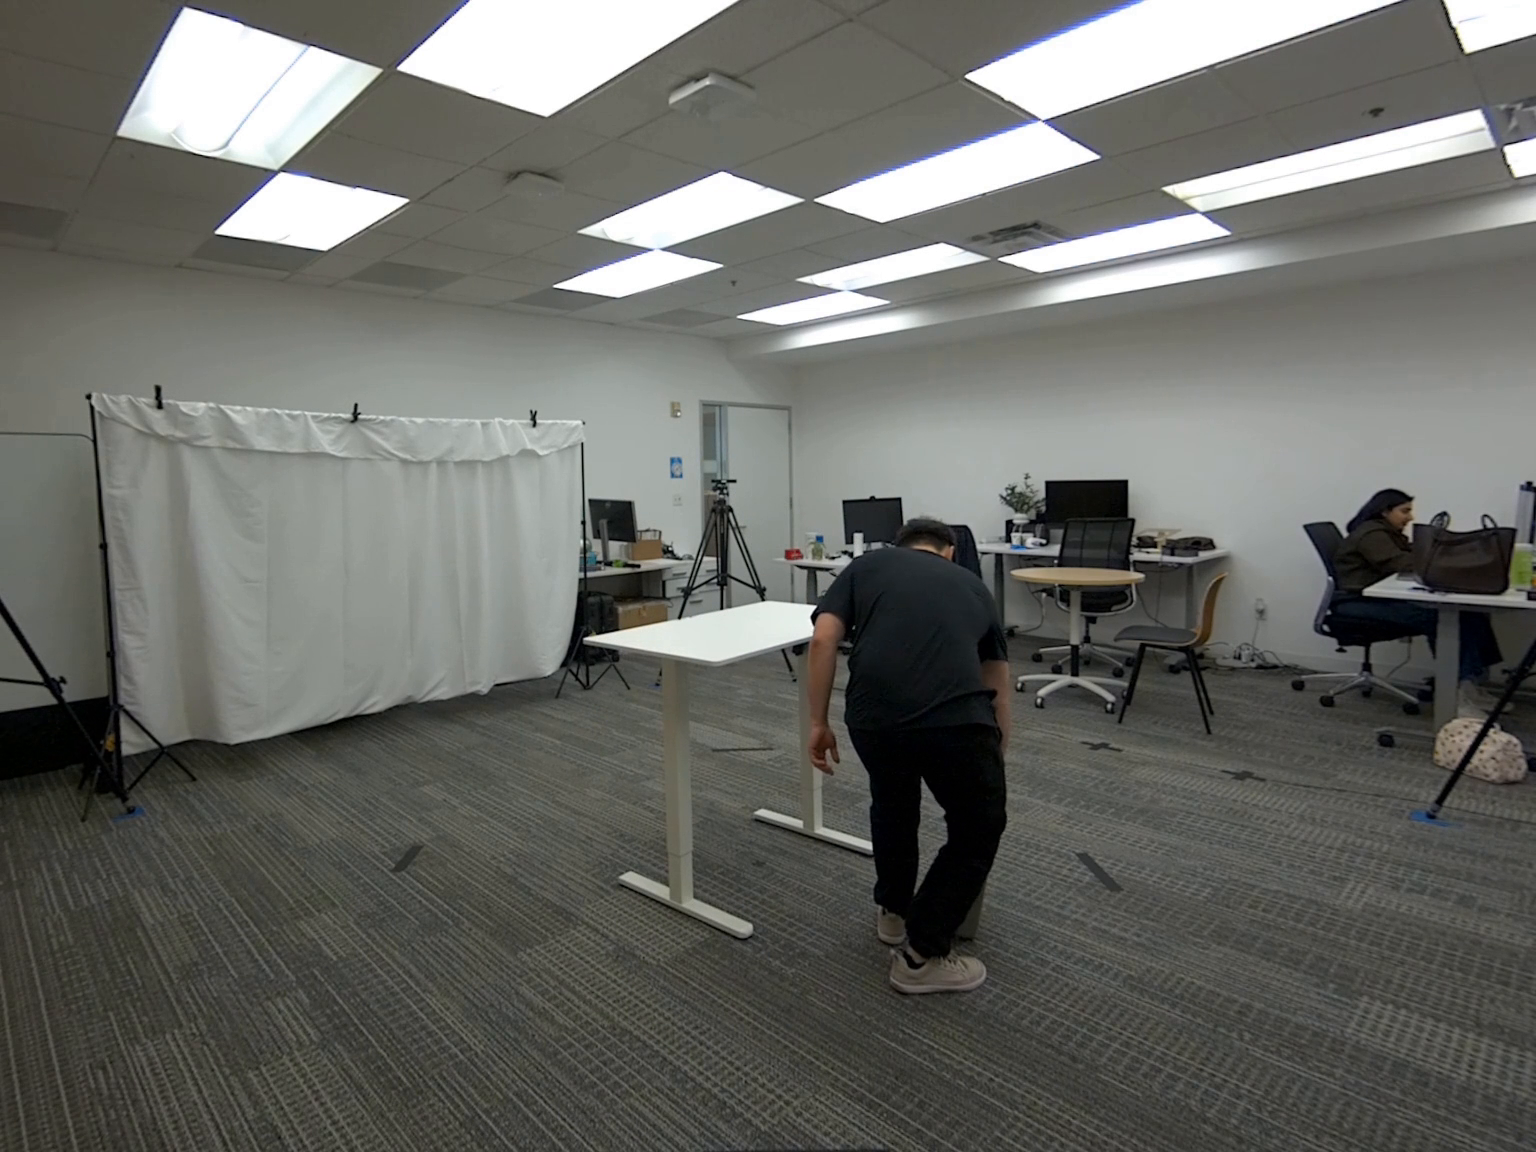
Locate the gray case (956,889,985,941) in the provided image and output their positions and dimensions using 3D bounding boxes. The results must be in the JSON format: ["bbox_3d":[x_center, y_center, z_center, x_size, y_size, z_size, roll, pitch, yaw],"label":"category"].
[{"bbox_3d":[0.626,0.948,2.665,0.106,0.259,0.254,10,8,15],"label":"gray case"}]
